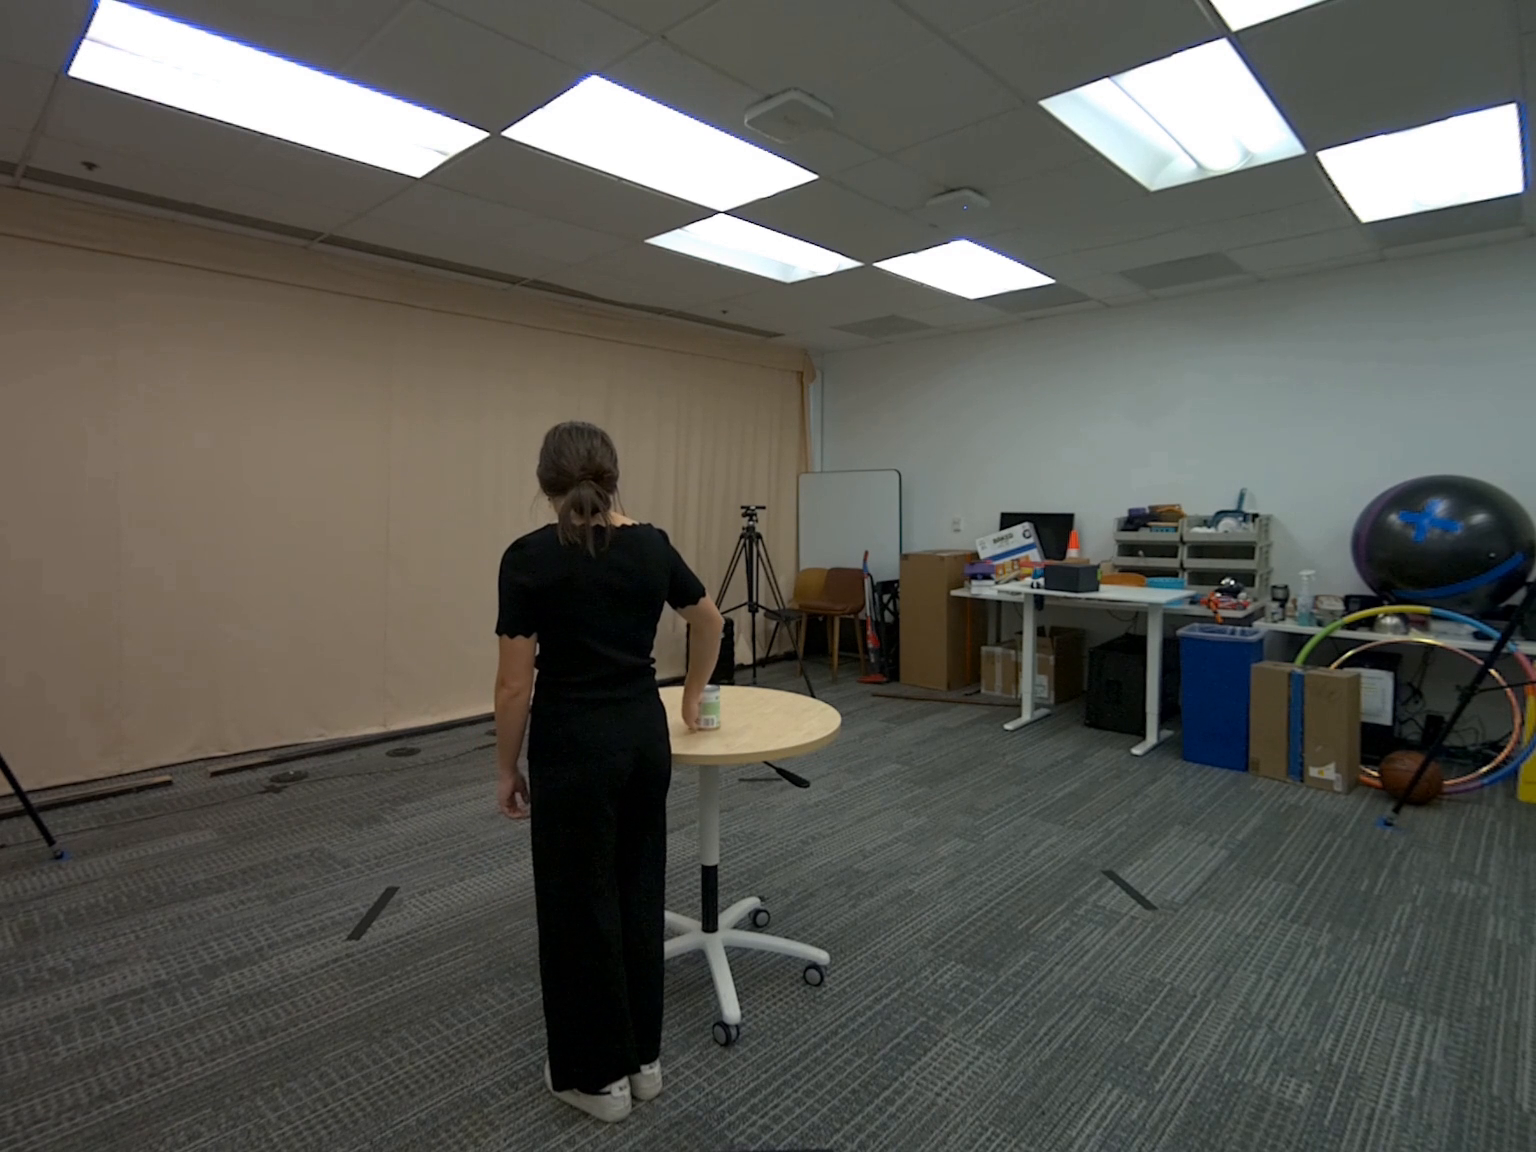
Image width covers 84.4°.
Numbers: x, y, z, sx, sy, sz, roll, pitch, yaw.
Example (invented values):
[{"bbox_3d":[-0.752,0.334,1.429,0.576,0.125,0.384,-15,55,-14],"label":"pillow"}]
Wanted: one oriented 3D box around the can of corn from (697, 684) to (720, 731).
[{"bbox_3d":[-0.160,0.365,2.307,0.074,0.111,0.074,-2,3,-2],"label":"can of corn"}]
